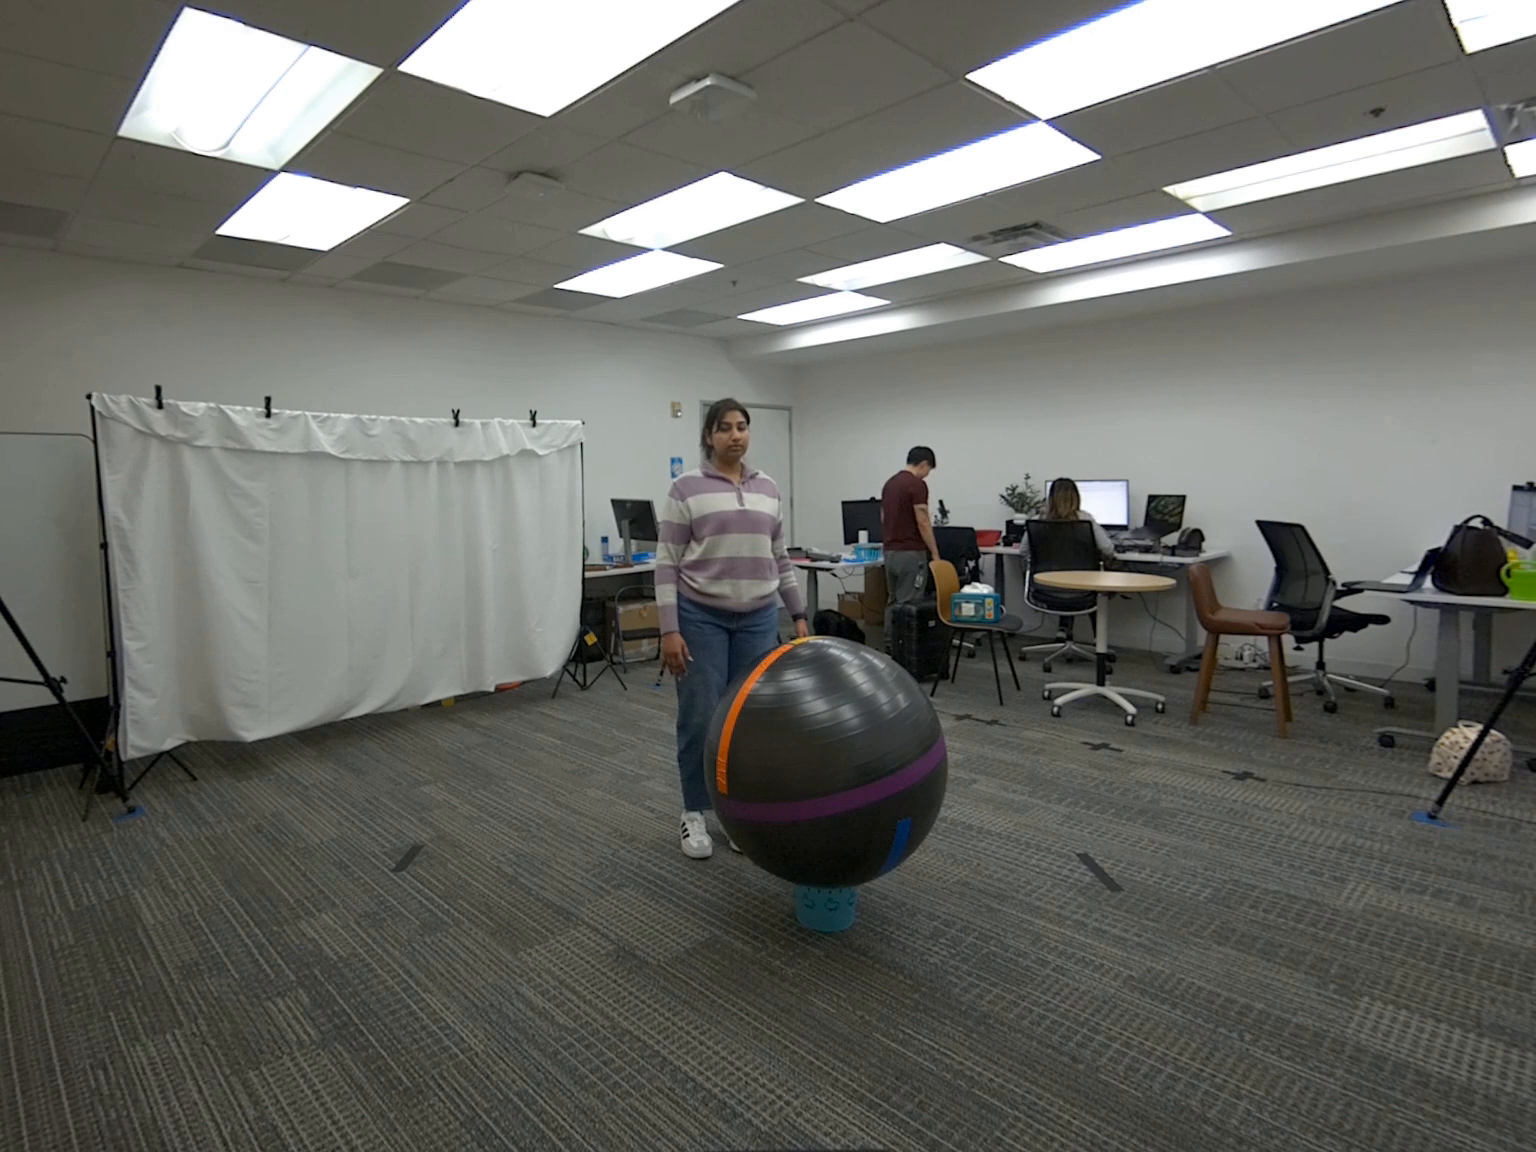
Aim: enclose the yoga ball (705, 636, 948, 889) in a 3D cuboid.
[{"bbox_3d":[0.192,0.585,2.668,0.757,0.755,0.762,-1,5,-2],"label":"yoga ball"}]
